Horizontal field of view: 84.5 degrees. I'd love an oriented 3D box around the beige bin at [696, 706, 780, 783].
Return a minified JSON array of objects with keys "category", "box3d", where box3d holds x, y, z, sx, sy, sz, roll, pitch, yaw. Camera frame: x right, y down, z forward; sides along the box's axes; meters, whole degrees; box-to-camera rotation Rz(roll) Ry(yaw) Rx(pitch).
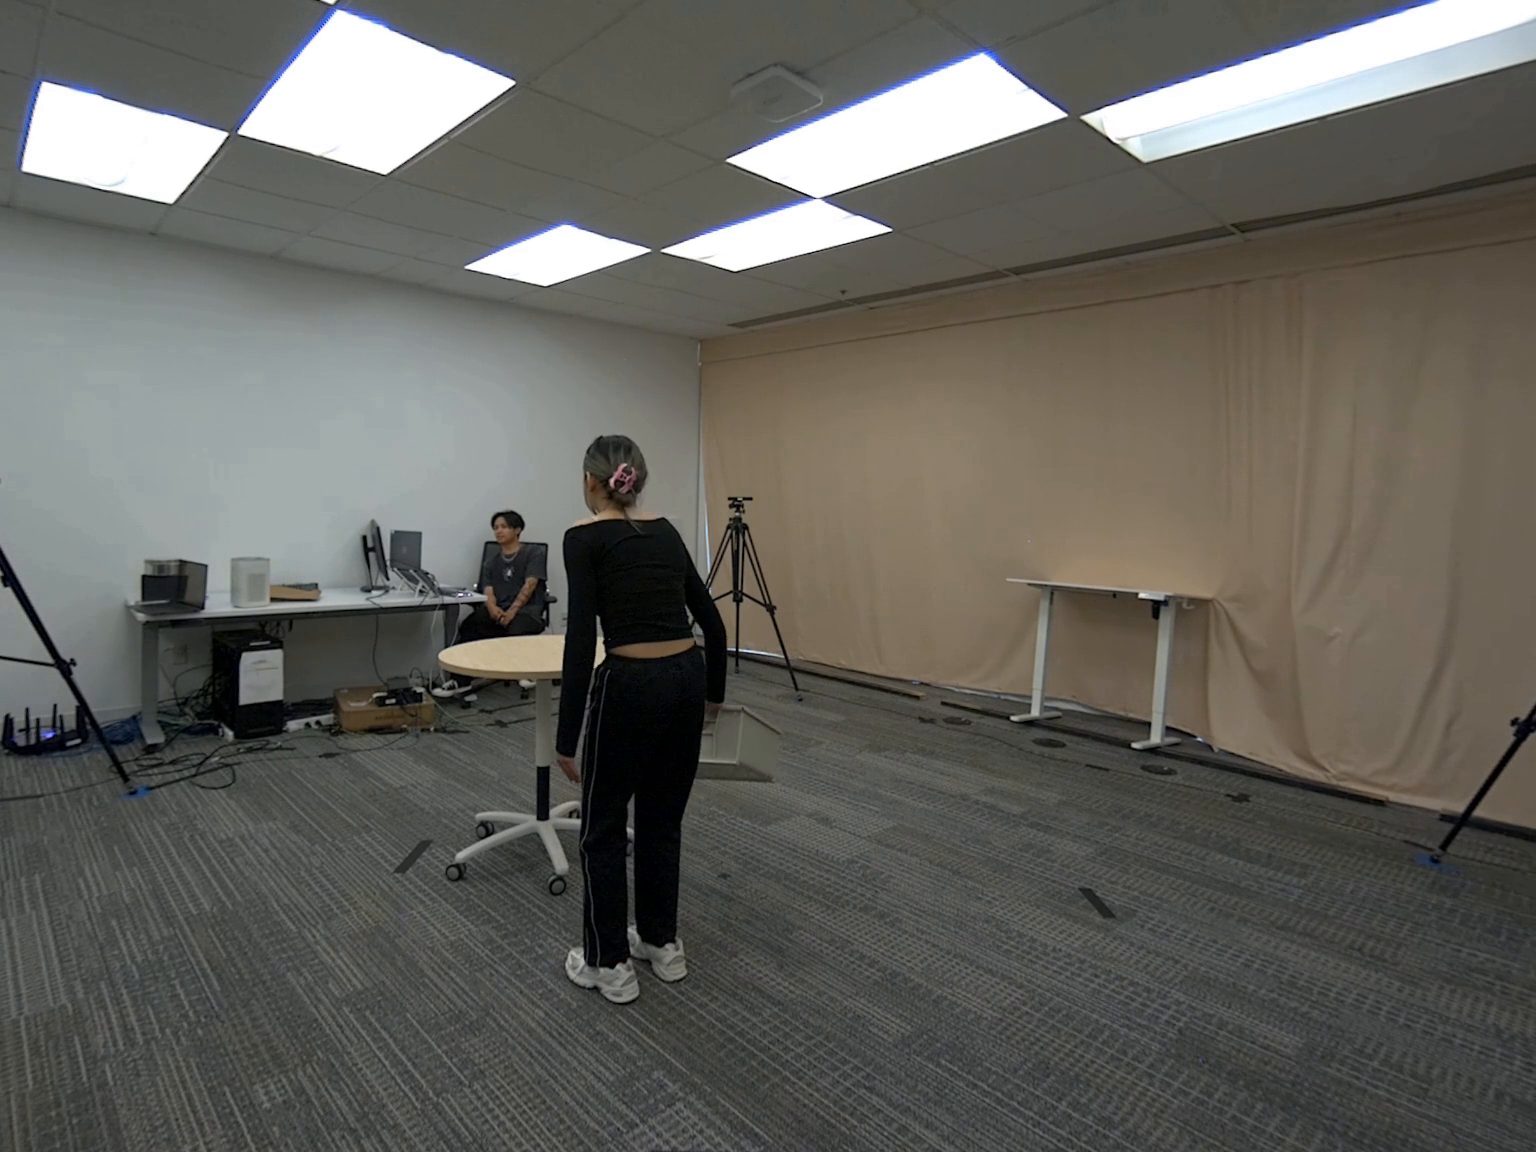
[{"category":"beige bin","box3d":[-0.201,0.579,2.846,0.383,0.191,0.410,-1,-23,21]}]
